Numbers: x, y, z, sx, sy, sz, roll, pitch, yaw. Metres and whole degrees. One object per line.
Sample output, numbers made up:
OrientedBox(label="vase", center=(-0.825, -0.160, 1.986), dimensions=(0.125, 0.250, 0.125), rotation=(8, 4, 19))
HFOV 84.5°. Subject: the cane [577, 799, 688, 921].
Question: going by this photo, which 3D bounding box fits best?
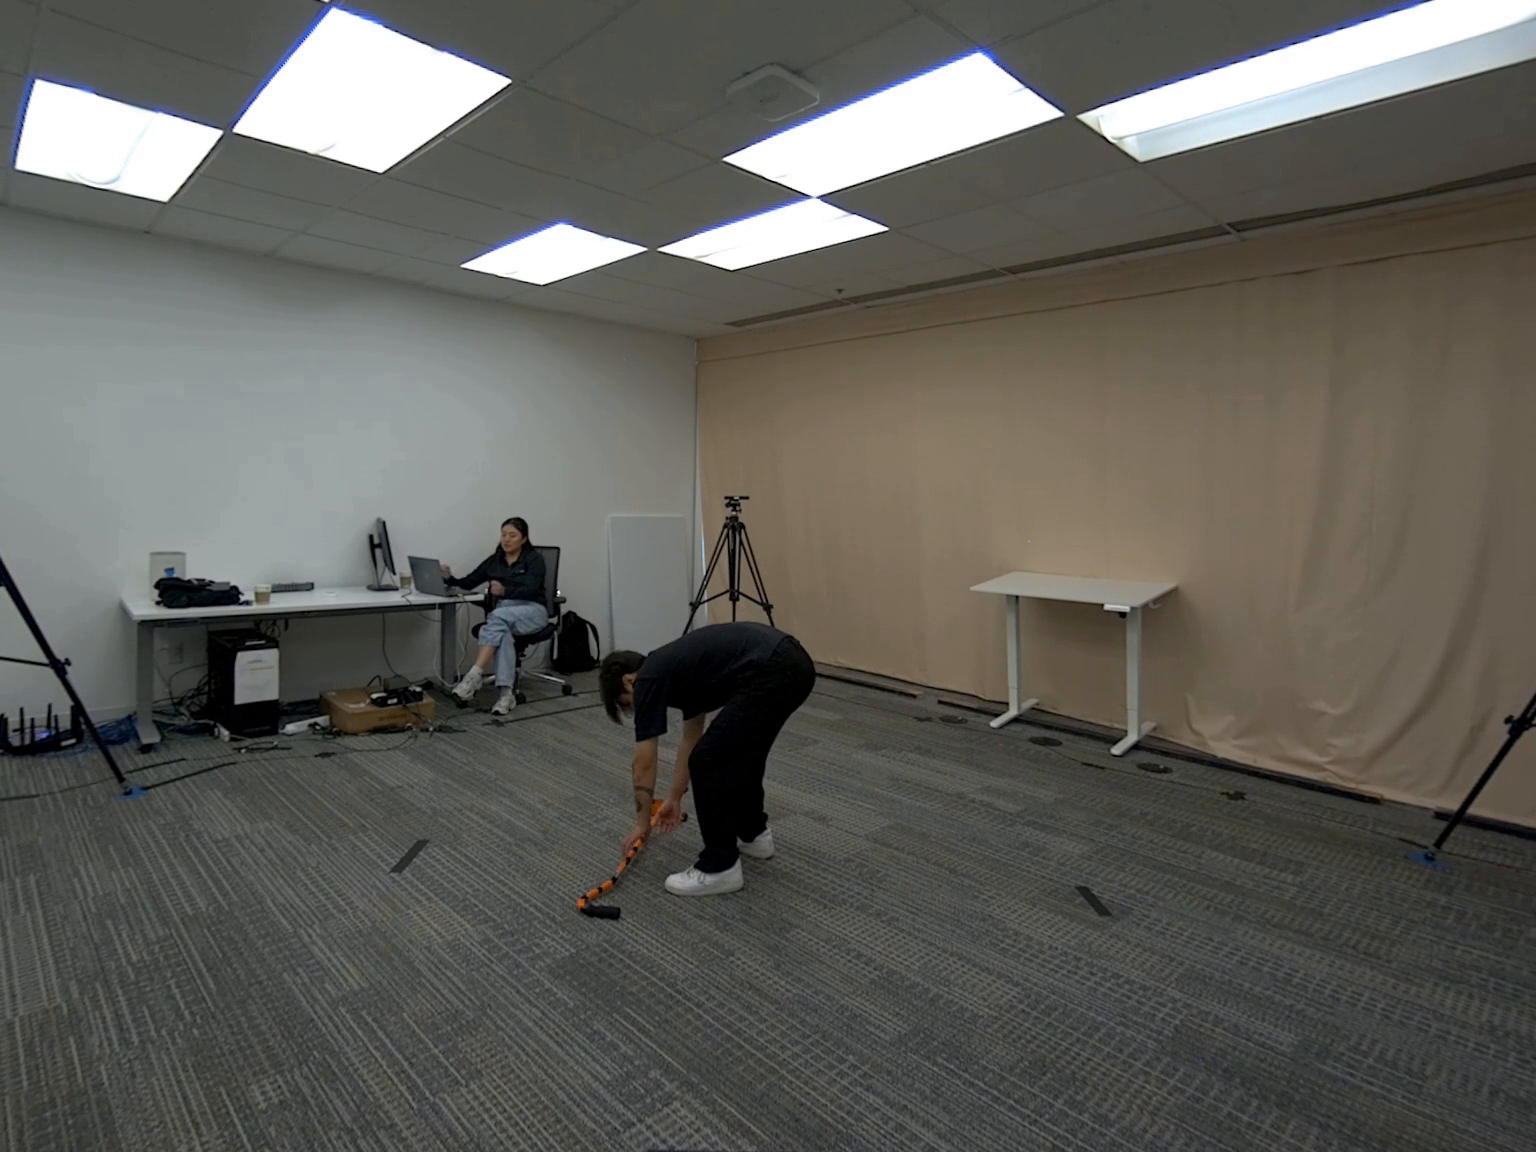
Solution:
OrientedBox(label="cane", center=(-0.518, 1.031, 3.206), dimensions=(0.208, 0.151, 0.906), rotation=(0, 8, 8))
